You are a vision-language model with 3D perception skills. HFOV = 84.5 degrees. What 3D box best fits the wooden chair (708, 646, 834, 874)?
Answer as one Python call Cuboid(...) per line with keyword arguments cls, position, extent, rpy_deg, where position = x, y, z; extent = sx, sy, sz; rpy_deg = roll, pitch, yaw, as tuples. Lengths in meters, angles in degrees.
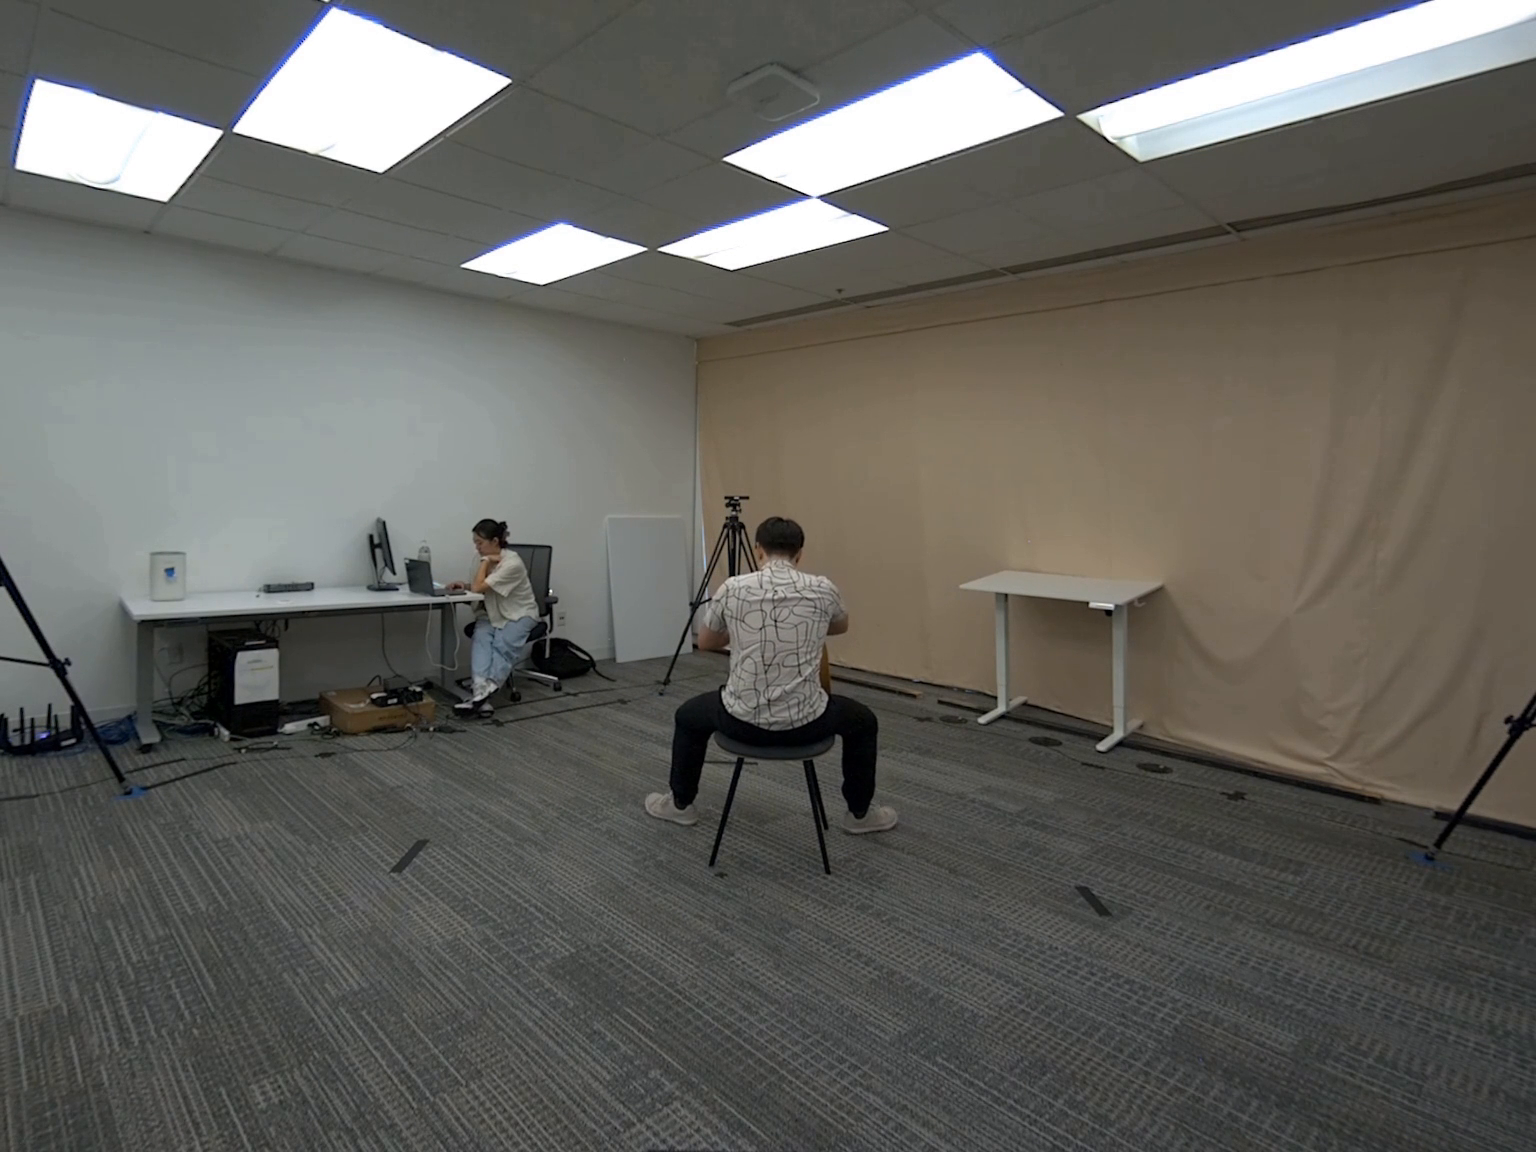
Cuboid(cls="wooden chair", position=(0.022, 0.670, 3.334), extent=(0.480, 0.878, 0.520), rpy_deg=(1, -1, 5))
